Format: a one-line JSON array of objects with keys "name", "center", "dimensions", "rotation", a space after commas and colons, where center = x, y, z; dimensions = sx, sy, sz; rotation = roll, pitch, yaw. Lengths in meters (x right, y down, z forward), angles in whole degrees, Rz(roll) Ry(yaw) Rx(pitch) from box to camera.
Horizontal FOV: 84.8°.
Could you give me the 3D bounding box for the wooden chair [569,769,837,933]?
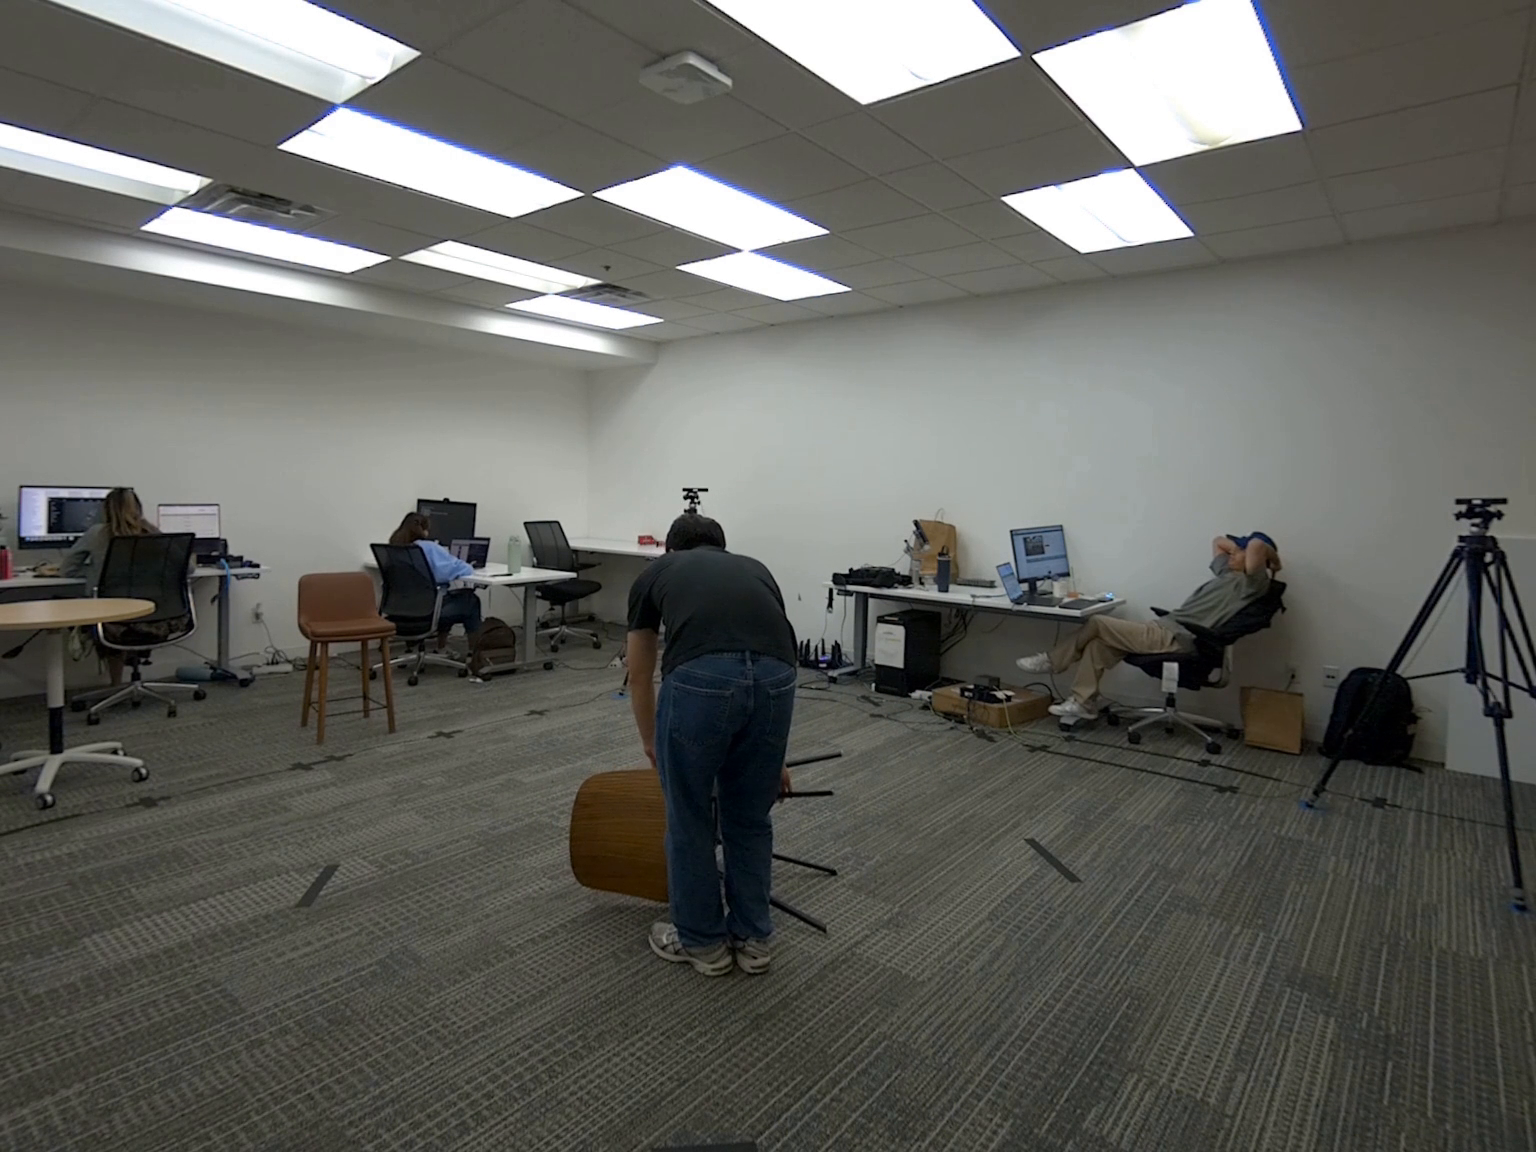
[{"name": "wooden chair", "center": [-0.211, 0.847, 2.960], "dimensions": [0.885, 0.477, 0.520], "rotation": [1, 4, 7]}]
